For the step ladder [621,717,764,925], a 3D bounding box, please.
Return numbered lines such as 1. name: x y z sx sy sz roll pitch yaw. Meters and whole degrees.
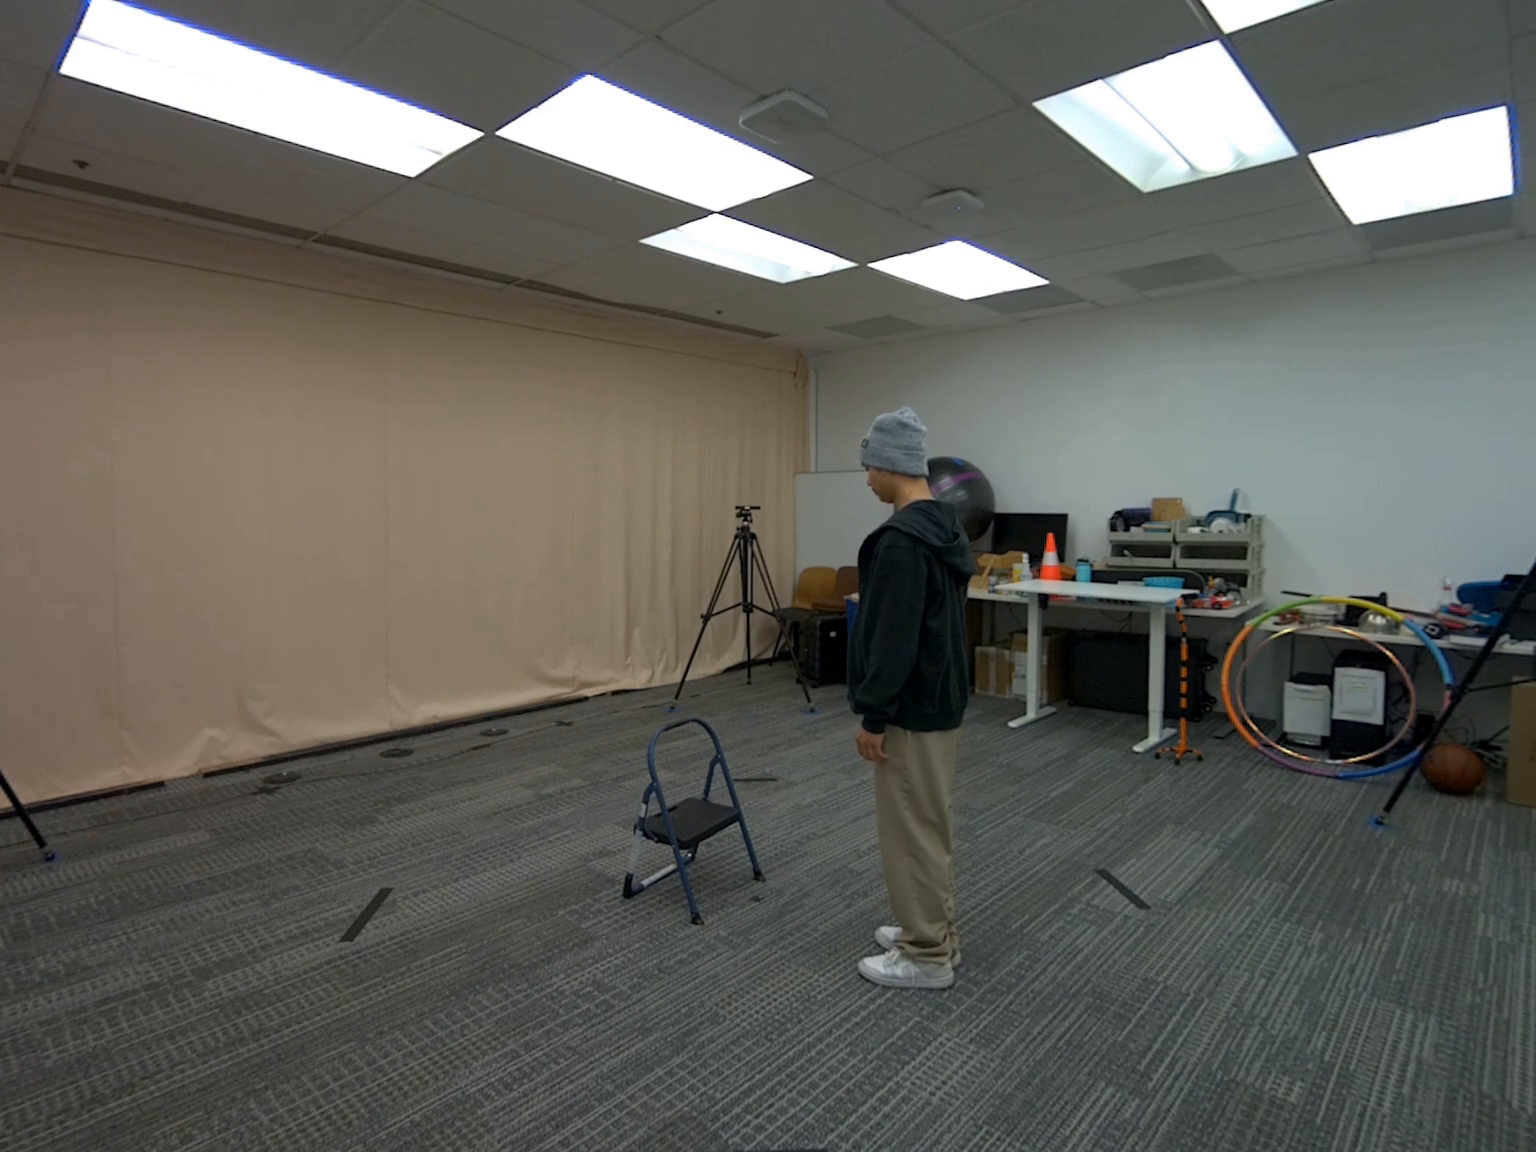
1. step ladder: -0.266 0.837 3.053 0.360 0.605 0.418 2 4 33
